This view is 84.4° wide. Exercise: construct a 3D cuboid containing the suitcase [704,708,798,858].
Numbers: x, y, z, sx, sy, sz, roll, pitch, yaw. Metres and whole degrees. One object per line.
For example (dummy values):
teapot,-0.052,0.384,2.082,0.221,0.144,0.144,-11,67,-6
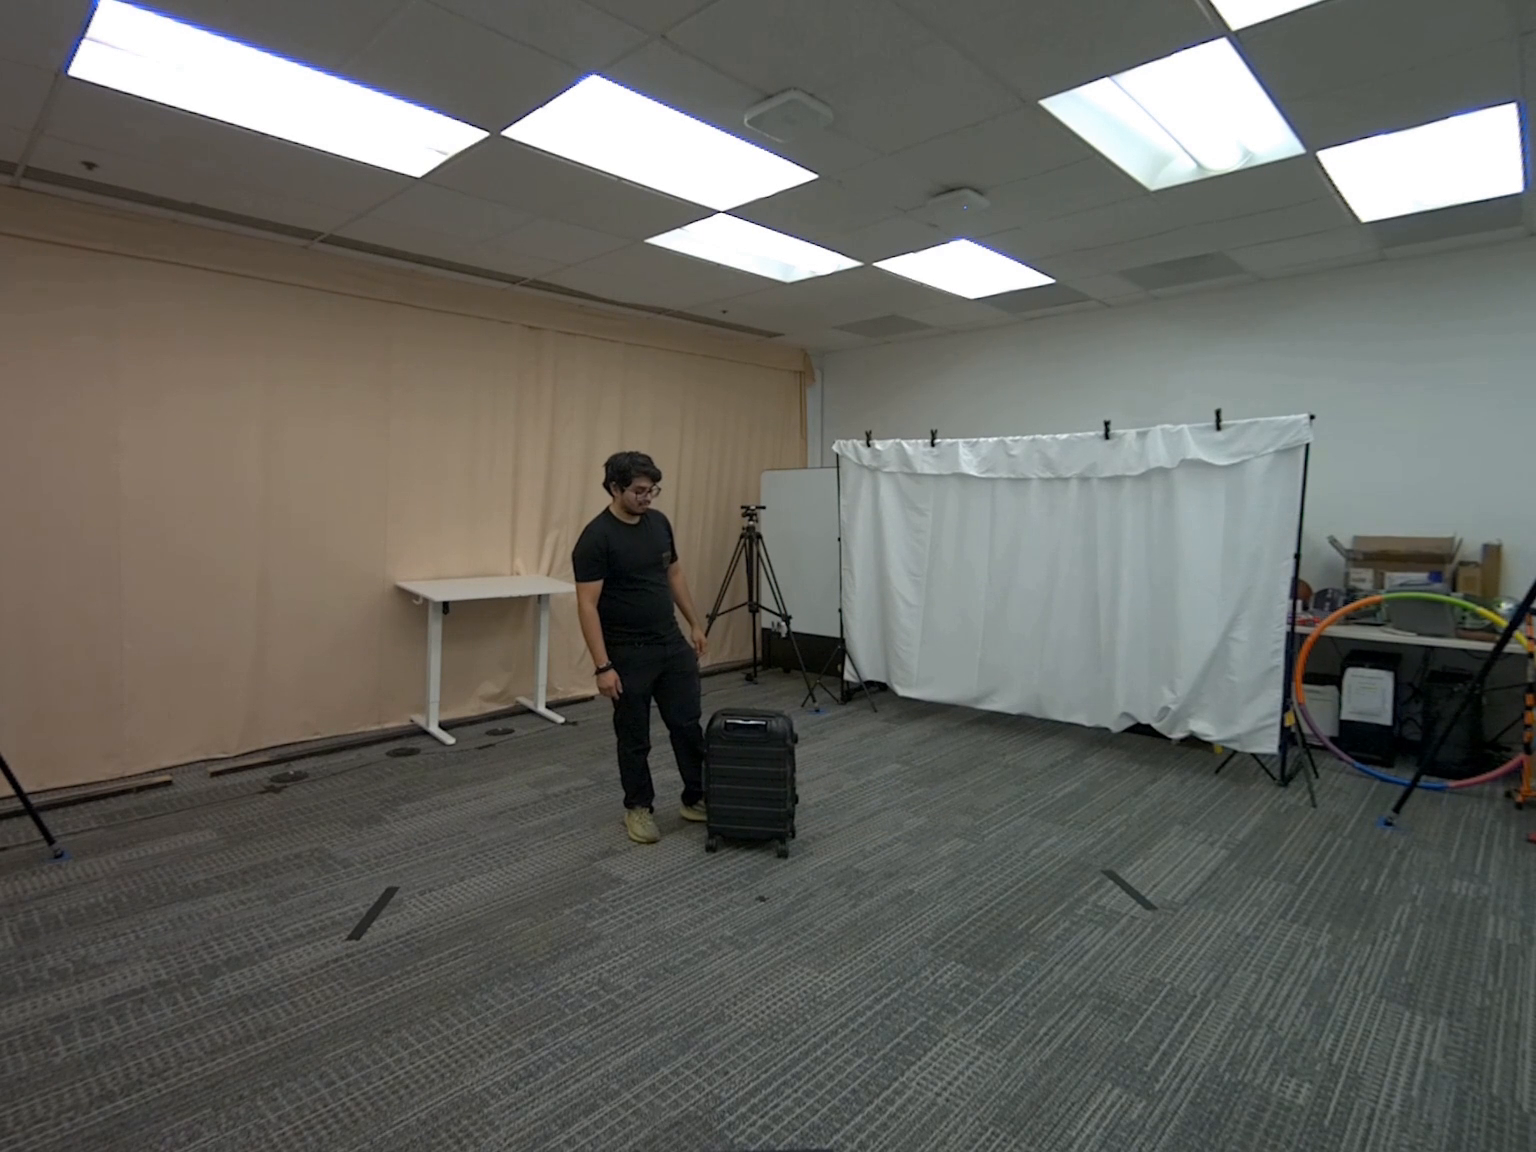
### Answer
suitcase,-0.072,0.825,3.472,0.380,0.549,0.245,0,1,11
